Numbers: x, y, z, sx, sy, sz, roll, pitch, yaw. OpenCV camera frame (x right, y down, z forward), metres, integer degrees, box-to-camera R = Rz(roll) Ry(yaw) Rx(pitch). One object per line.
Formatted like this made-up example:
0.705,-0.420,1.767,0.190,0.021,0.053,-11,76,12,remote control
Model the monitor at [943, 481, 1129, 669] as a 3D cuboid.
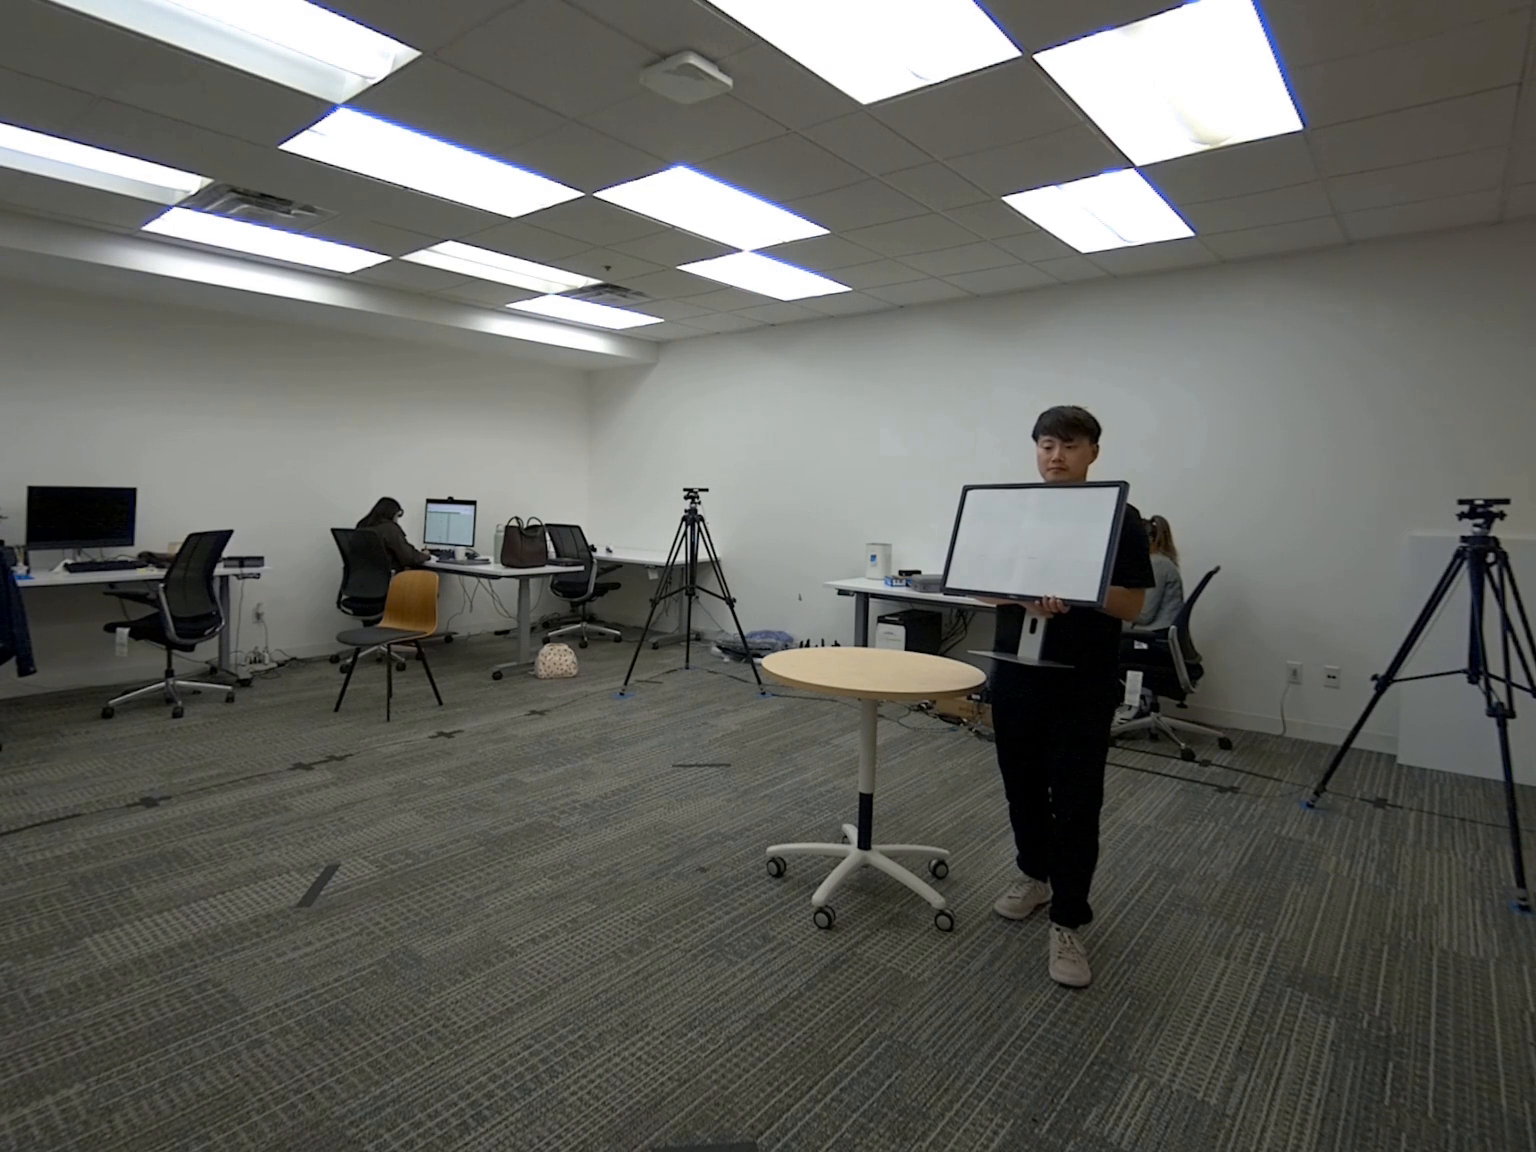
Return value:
0.785,-0.014,2.559,0.181,0.523,0.557,7,-2,-38,monitor
